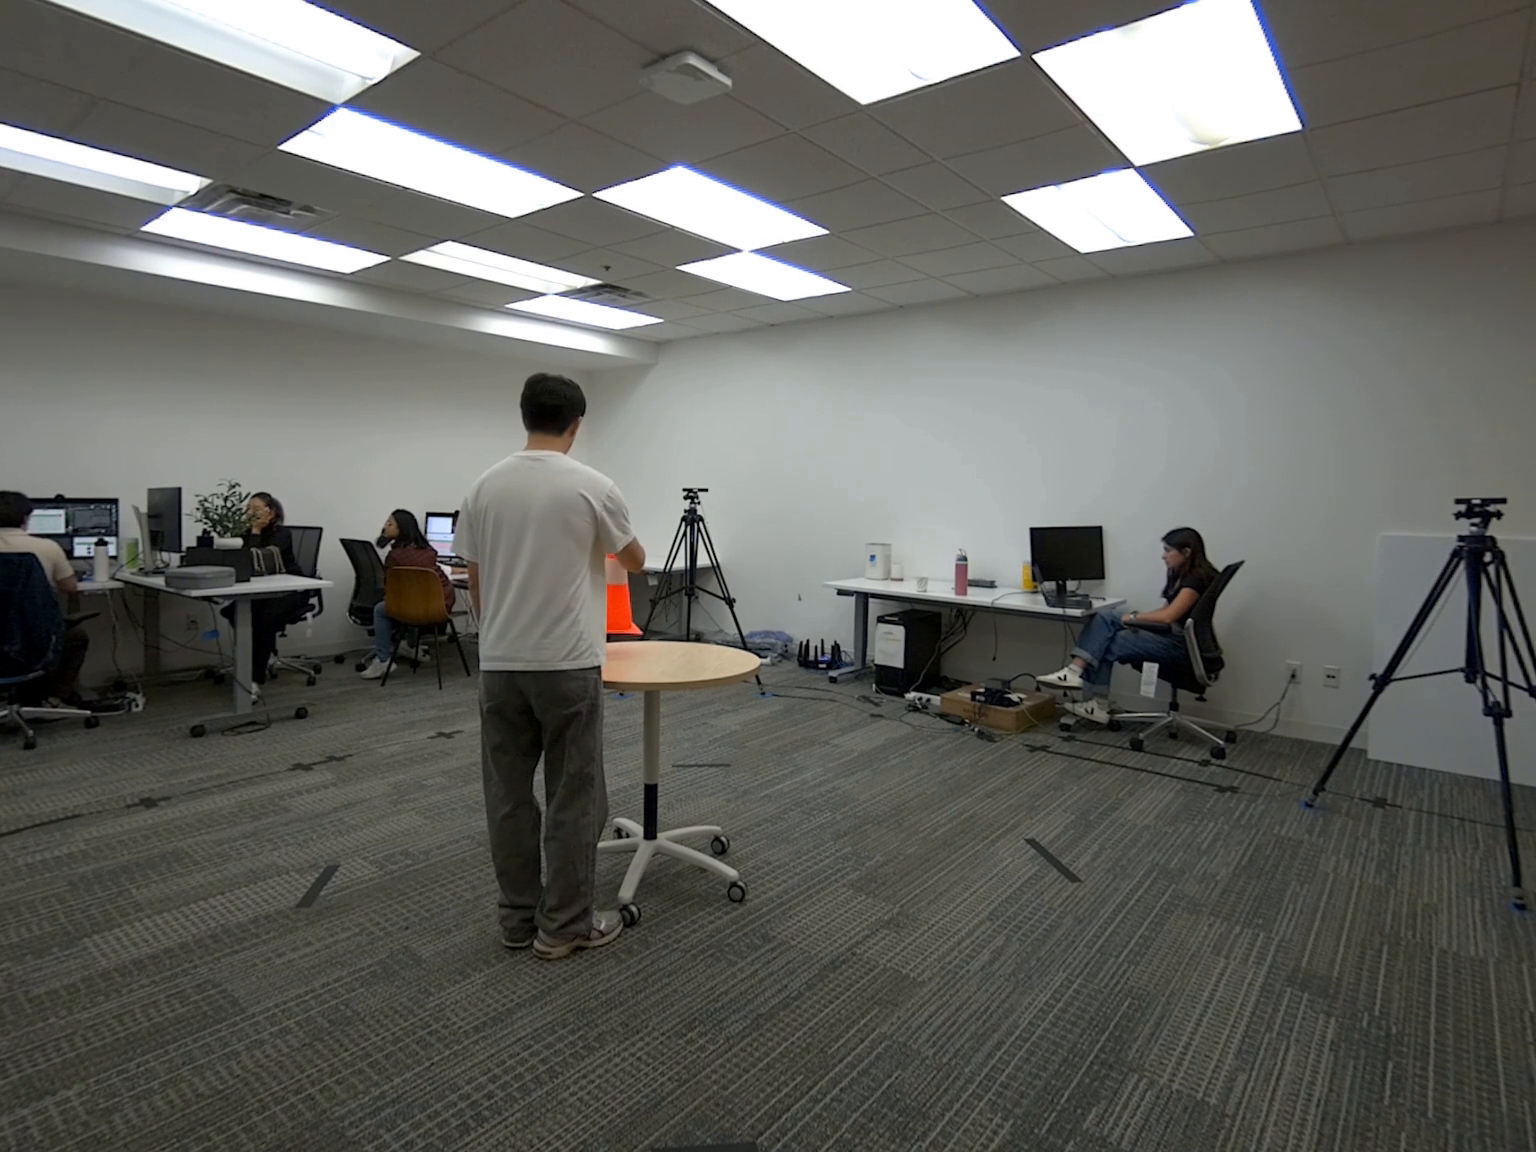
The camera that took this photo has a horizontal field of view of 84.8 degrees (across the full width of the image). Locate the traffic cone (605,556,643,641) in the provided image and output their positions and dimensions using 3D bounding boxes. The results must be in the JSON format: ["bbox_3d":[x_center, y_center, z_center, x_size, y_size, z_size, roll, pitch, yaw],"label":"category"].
[{"bbox_3d":[-0.559,0.007,3.102,0.212,0.381,0.198,10,9,33],"label":"traffic cone"}]
